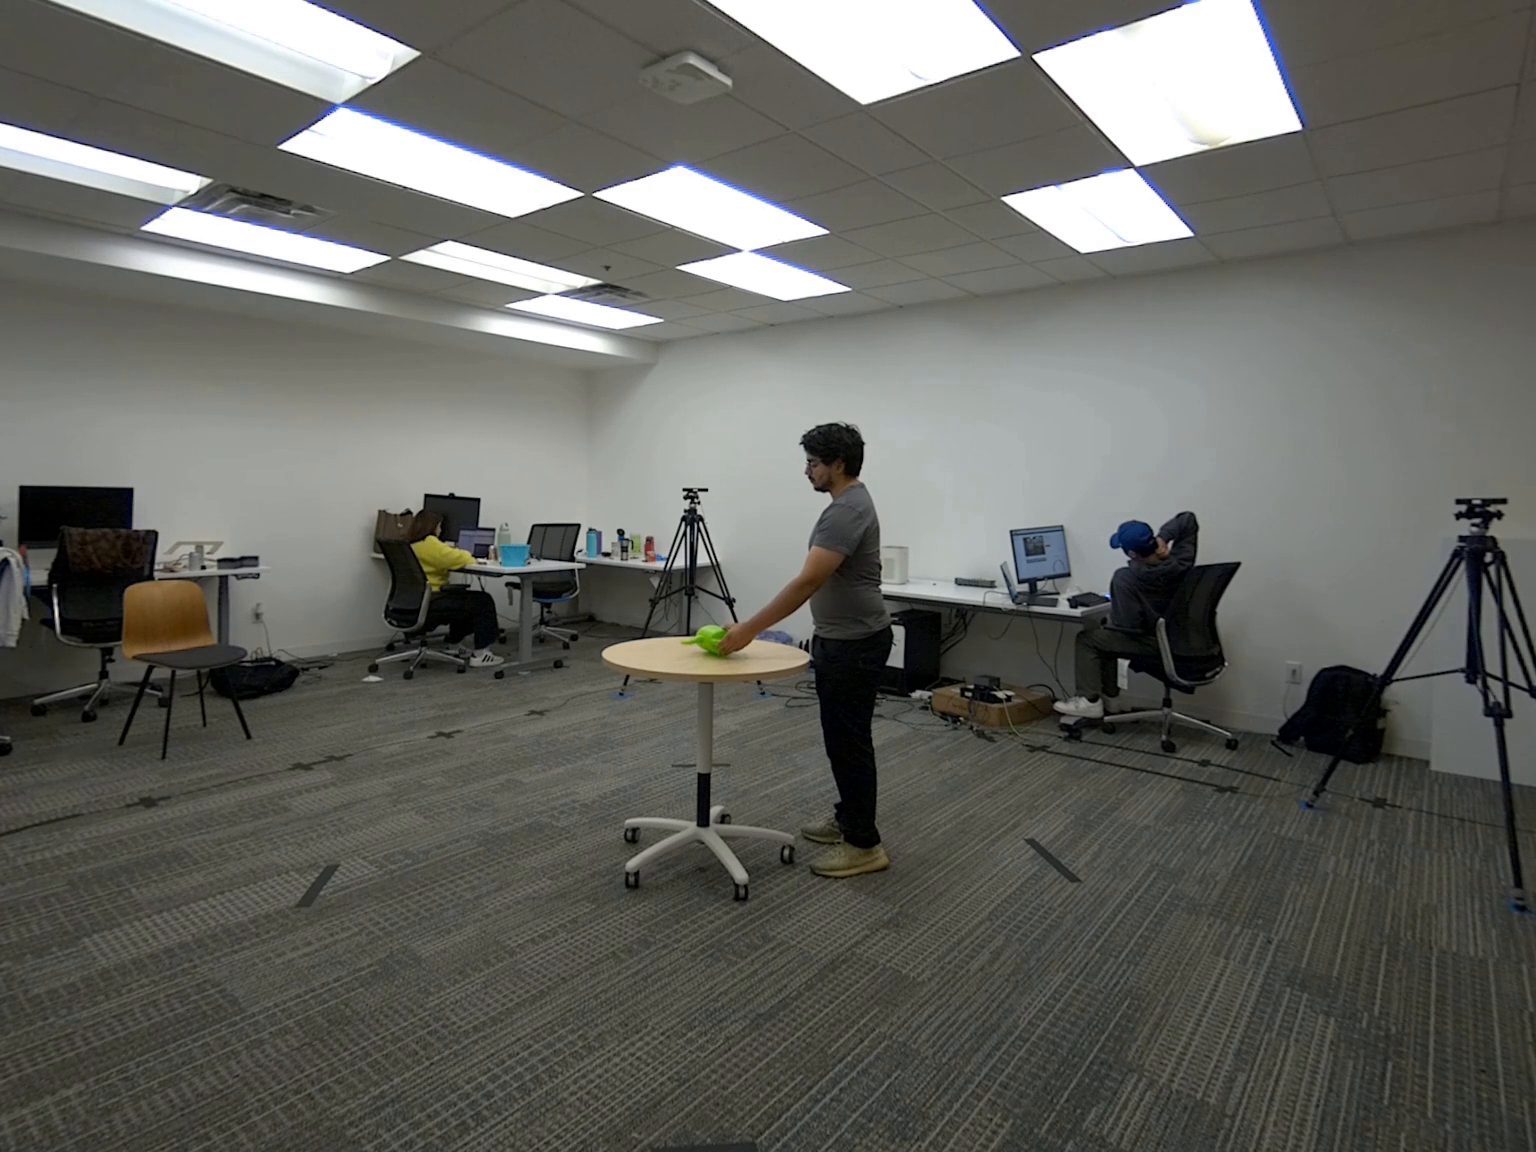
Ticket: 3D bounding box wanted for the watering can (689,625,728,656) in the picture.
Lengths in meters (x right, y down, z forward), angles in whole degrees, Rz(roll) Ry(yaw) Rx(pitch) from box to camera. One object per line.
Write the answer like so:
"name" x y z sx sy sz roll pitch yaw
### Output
"watering can" -0.222 0.222 3.107 0.270 0.098 0.181 18 -6 -24
